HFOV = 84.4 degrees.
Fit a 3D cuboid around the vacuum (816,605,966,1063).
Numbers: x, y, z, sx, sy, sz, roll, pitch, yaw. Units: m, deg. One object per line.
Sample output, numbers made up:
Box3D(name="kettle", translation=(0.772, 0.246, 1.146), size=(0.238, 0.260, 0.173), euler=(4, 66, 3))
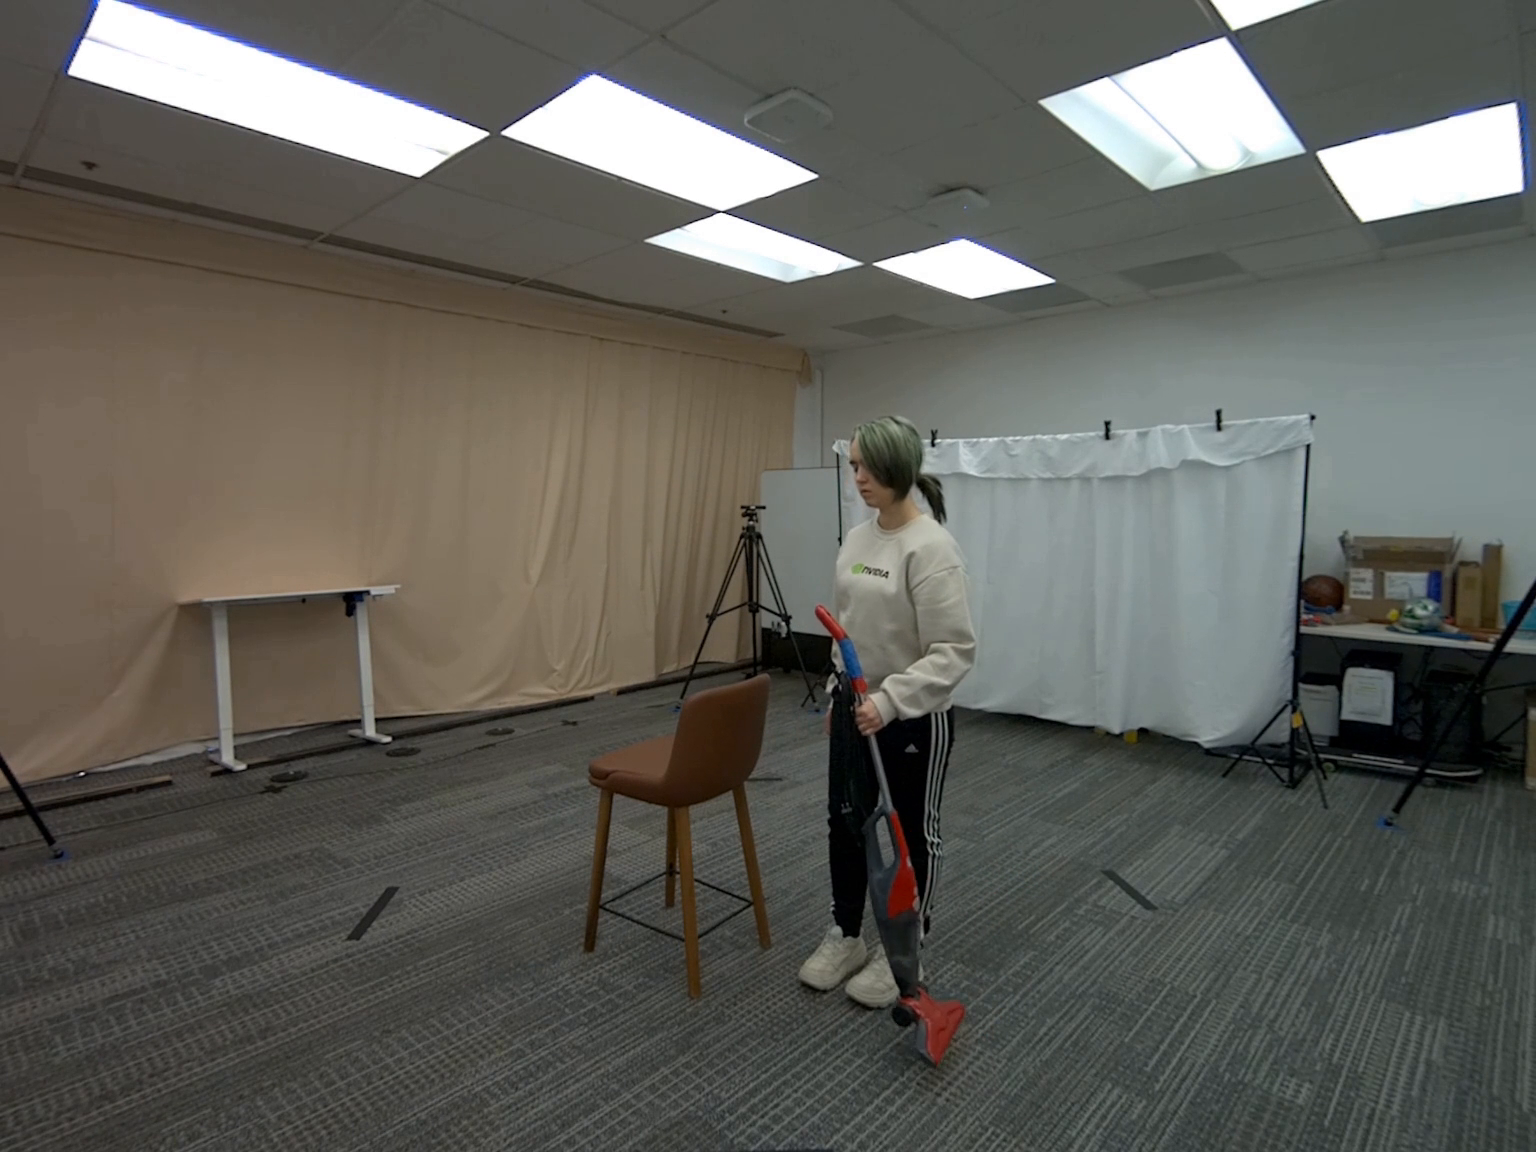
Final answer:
Box3D(name="vacuum", translation=(0.270, 0.600, 2.137), size=(0.147, 1.053, 0.246), euler=(-17, -4, 32))
